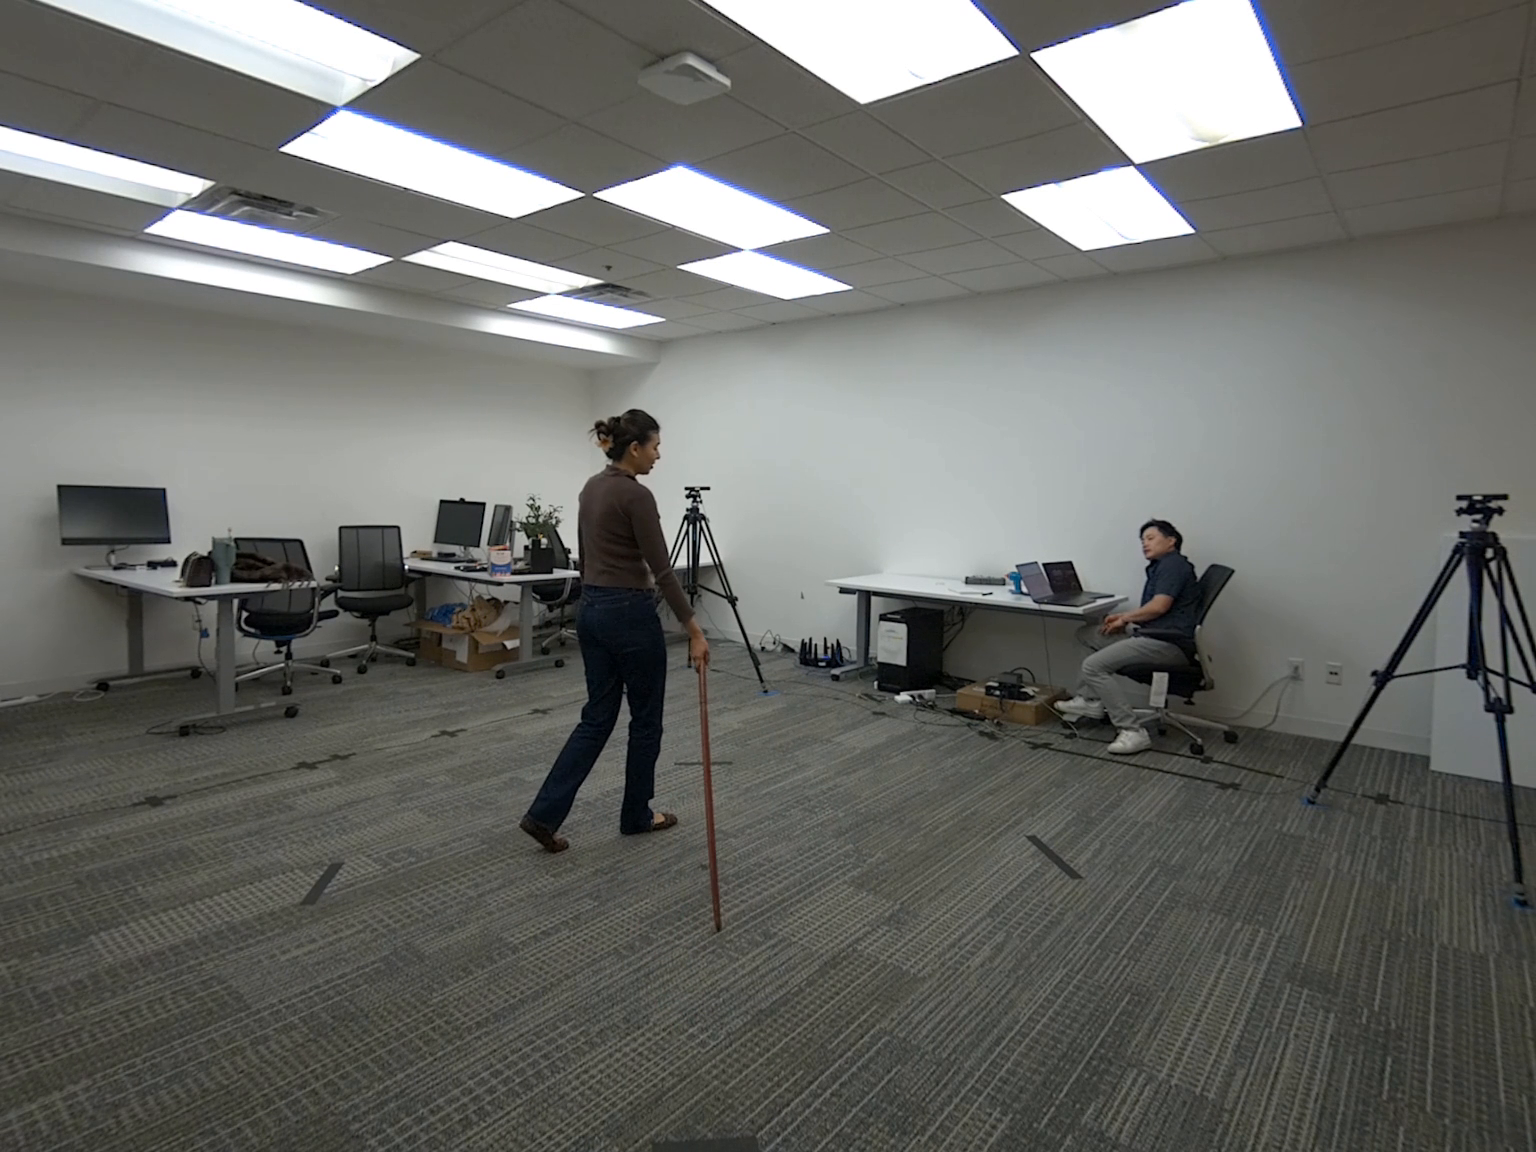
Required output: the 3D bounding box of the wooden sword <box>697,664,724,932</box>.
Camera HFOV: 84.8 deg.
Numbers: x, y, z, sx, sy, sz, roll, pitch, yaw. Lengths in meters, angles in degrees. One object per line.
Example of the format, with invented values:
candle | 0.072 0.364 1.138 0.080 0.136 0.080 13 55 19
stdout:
wooden sword | -0.207 0.685 2.937 0.023 1.056 0.051 8 -37 -22
